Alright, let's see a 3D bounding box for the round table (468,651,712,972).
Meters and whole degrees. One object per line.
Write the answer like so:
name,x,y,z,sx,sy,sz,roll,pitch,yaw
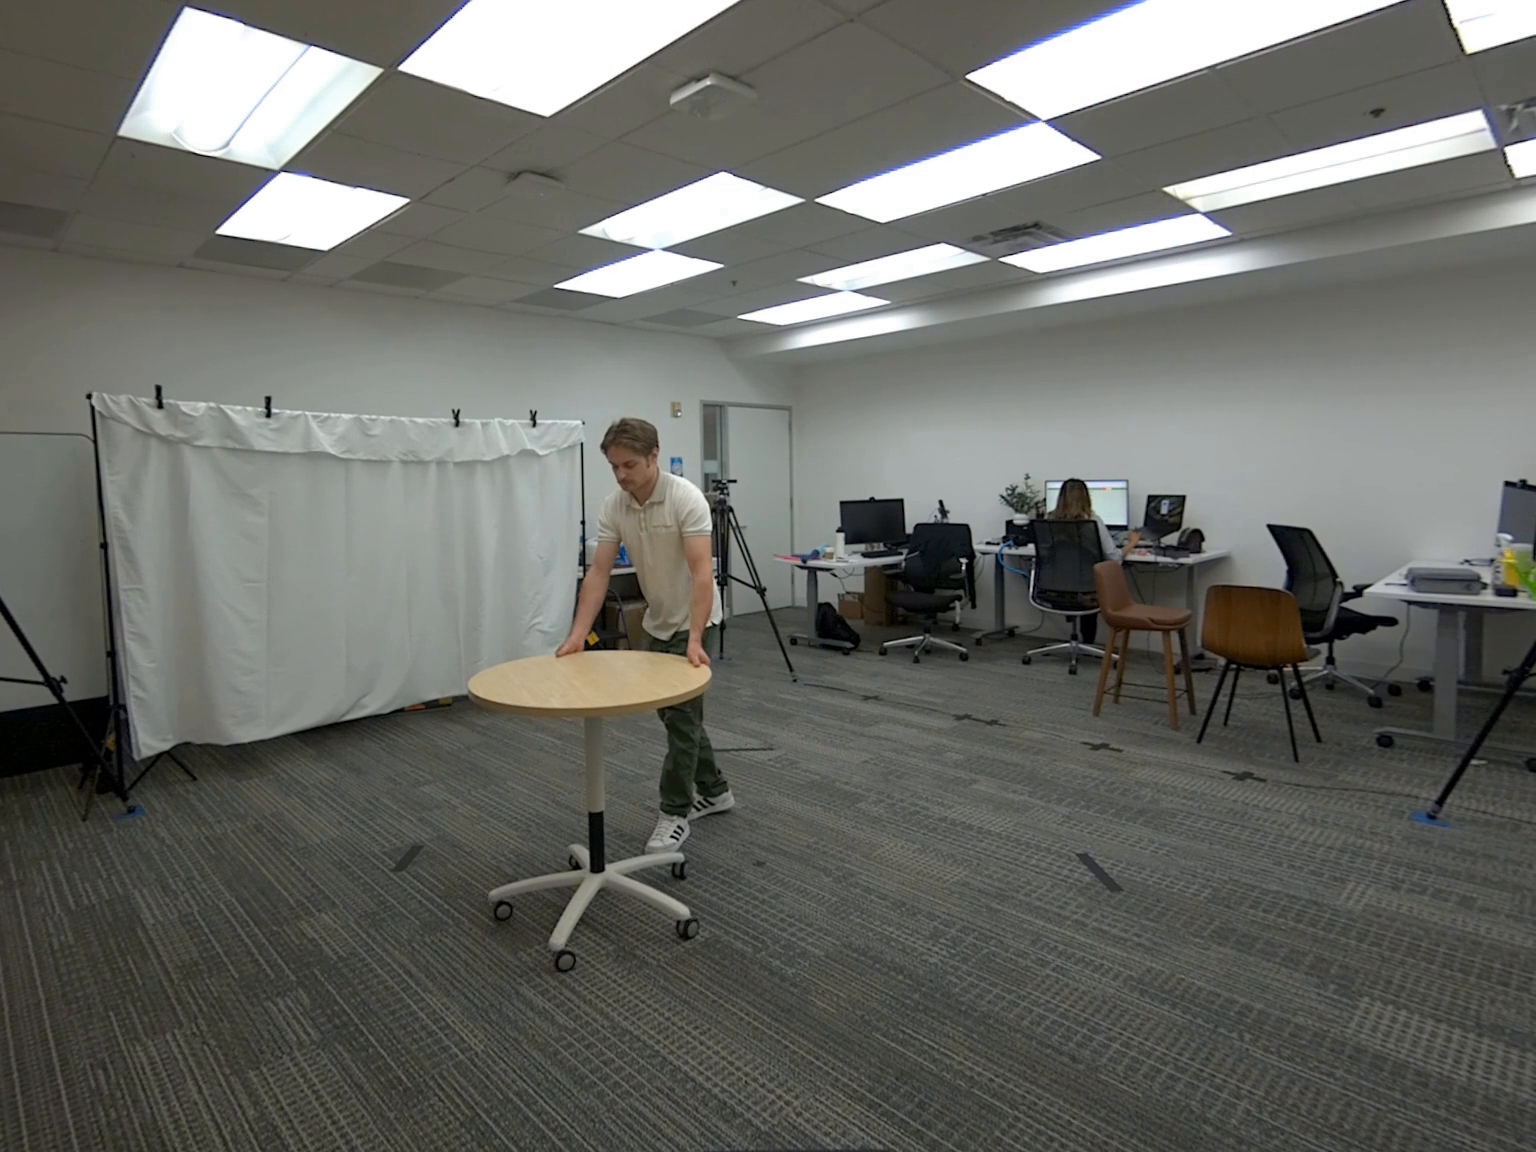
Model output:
round table,-0.551,0.701,2.777,0.784,0.783,0.789,-1,5,-2
